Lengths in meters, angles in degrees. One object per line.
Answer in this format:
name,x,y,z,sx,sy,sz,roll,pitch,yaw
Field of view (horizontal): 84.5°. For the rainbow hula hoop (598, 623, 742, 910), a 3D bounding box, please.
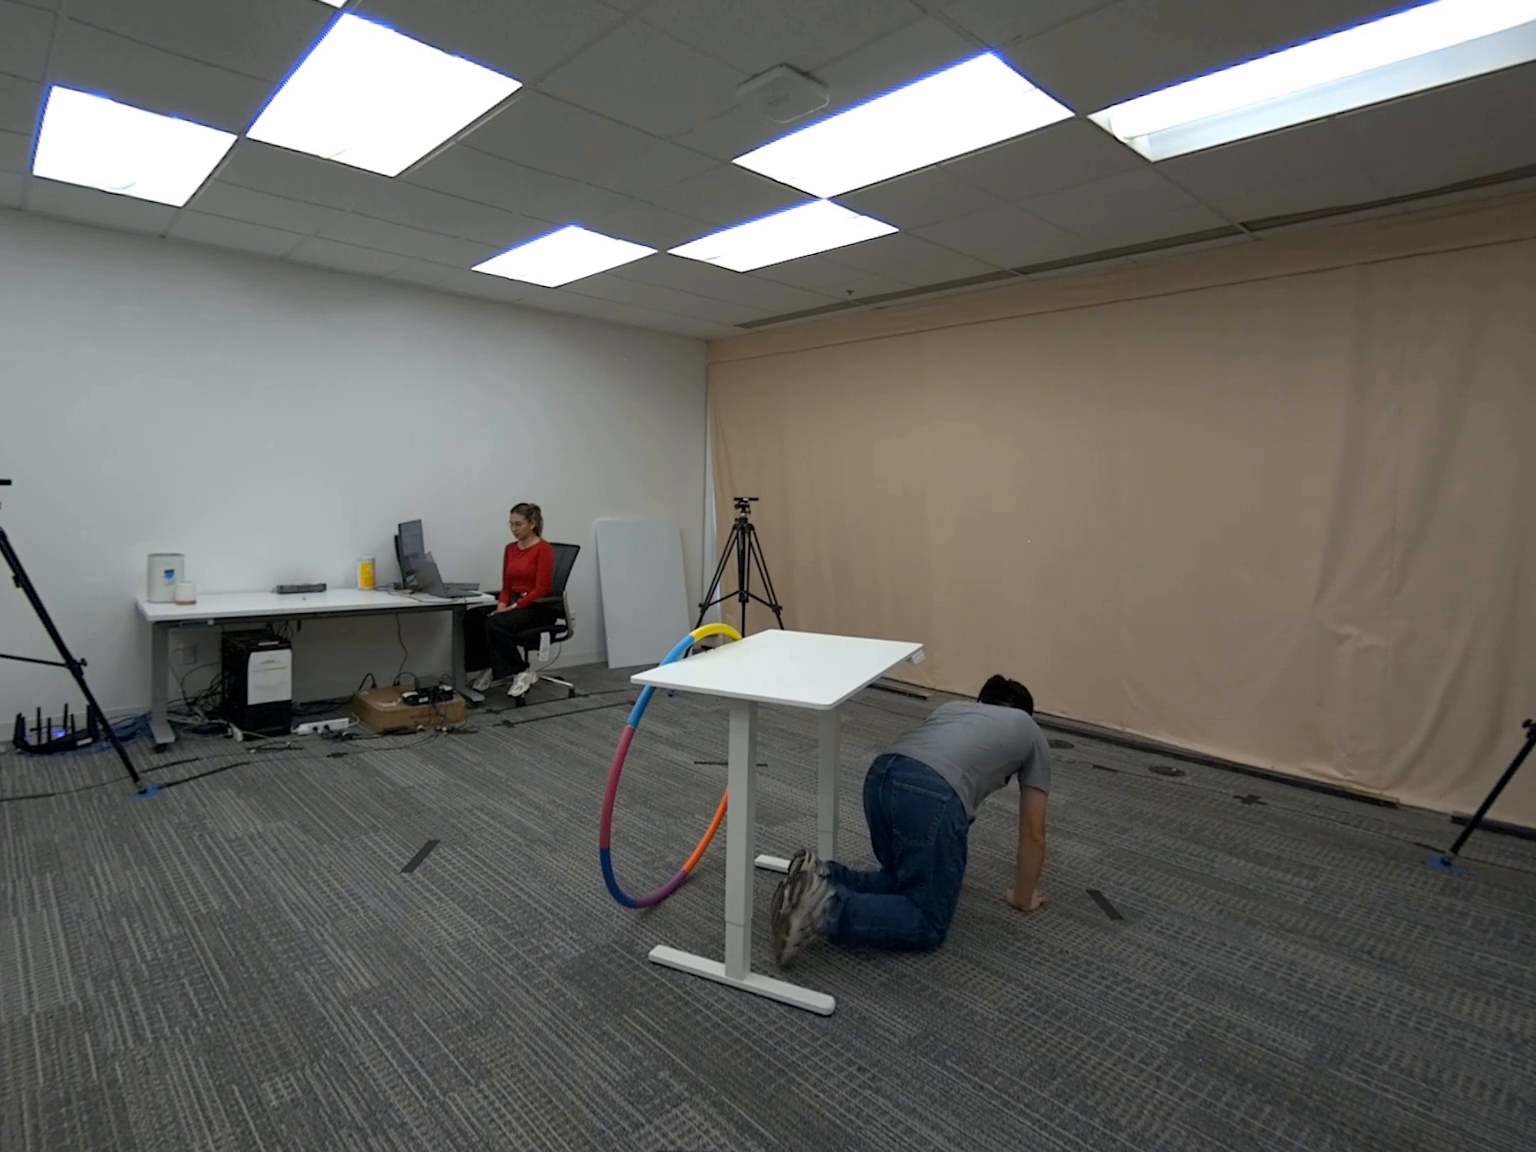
rainbow hula hoop,-0.289,0.643,2.889,0.036,0.974,0.963,13,8,21
